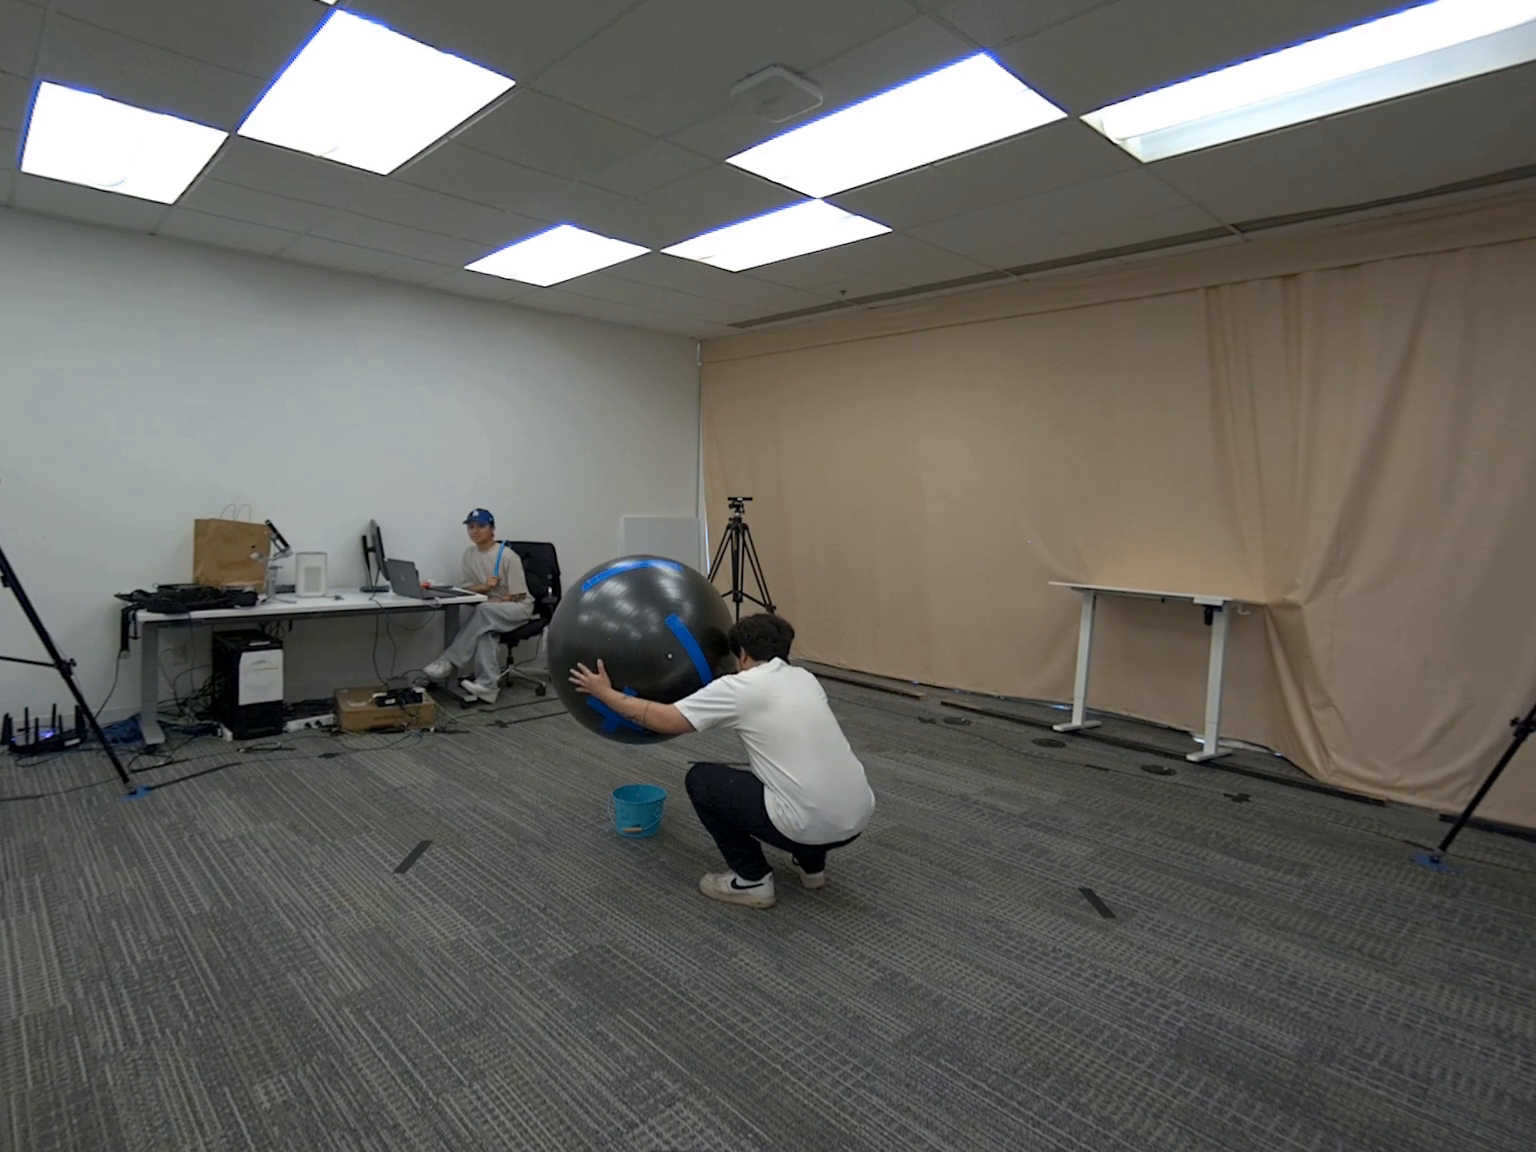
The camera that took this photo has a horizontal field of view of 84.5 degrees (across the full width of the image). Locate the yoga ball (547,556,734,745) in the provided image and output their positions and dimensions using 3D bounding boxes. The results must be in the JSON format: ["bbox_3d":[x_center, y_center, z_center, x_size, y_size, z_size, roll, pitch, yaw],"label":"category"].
[{"bbox_3d":[-0.517,0.296,3.408,0.757,0.756,0.760,1,4,-1],"label":"yoga ball"}]
